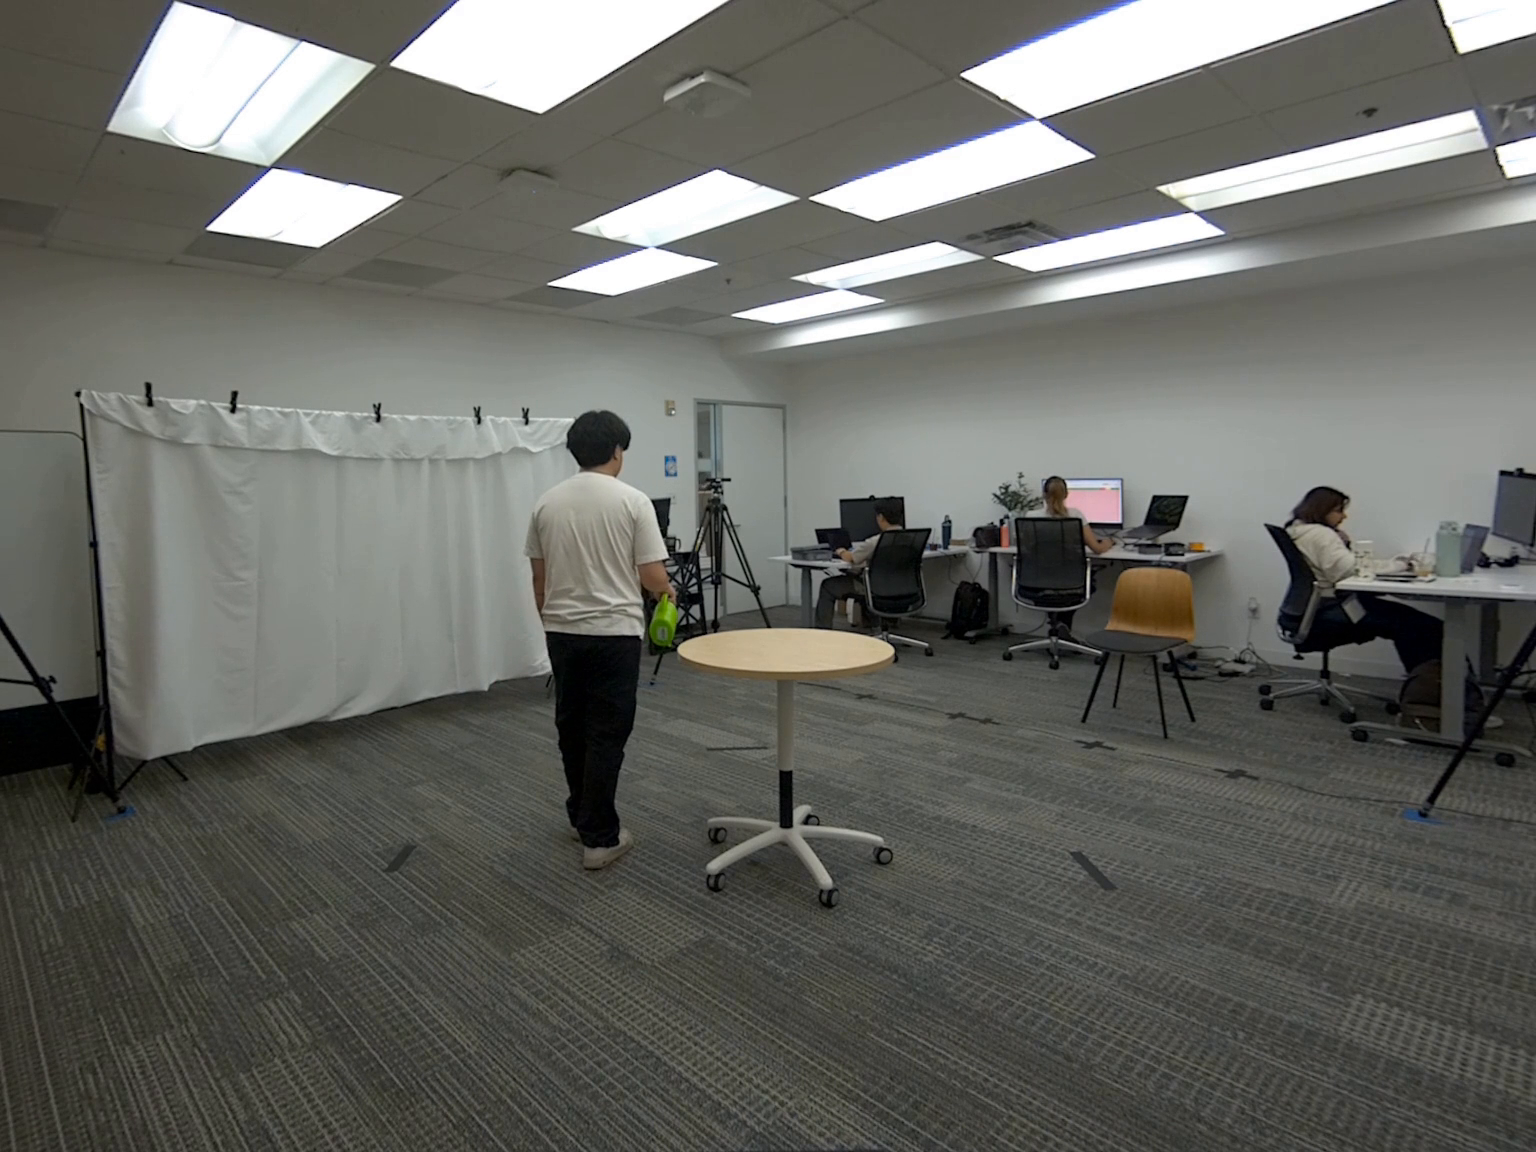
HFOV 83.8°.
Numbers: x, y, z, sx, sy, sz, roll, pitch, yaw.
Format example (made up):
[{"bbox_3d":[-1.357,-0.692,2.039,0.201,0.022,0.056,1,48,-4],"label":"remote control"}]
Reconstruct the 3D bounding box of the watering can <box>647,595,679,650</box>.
[{"bbox_3d":[-0.397,0.211,3.388,0.099,0.271,0.180,-4,31,11],"label":"watering can"}]
